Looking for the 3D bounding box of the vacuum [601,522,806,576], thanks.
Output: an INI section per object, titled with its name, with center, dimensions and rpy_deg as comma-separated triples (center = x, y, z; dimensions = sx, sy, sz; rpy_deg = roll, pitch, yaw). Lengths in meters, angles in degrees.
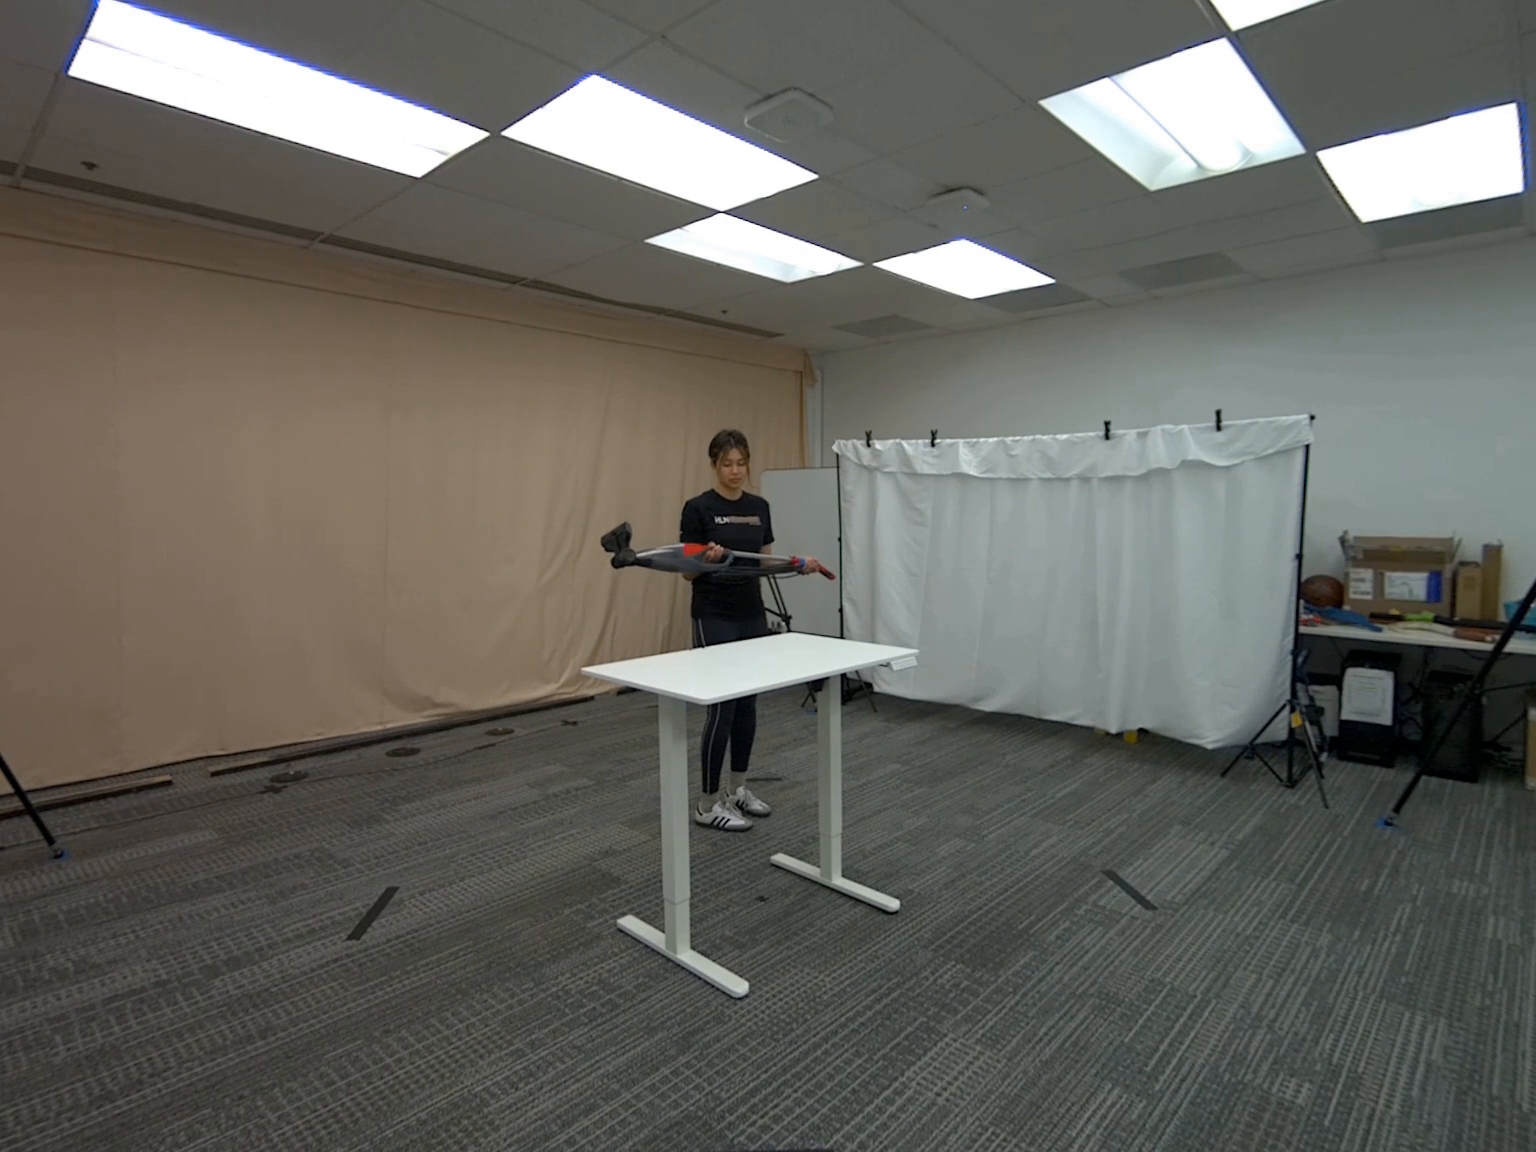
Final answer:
[vacuum]
center = -0.159, -0.046, 3.505
dimensions = 1.018, 0.145, 0.258
rpy_deg = 8, -17, -30
